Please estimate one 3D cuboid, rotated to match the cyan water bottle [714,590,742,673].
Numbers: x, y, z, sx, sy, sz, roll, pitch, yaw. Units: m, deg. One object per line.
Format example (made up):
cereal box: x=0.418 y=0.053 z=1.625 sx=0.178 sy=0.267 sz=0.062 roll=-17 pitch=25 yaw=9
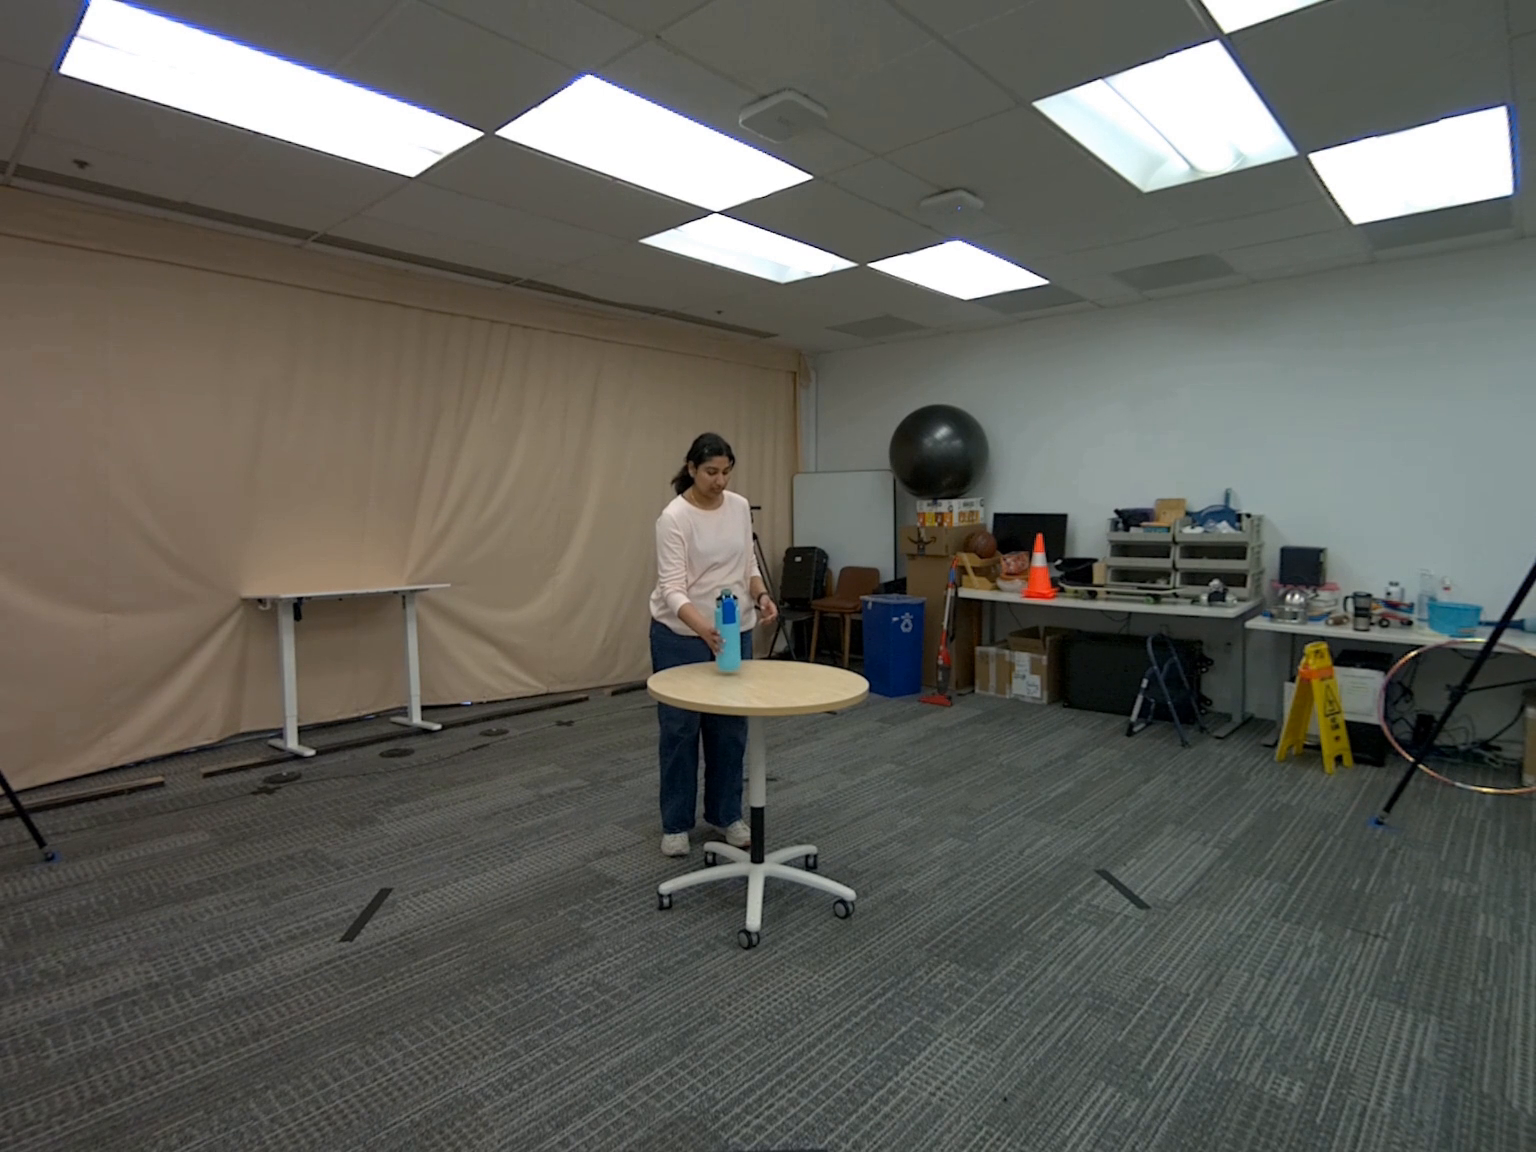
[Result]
cyan water bottle: x=-0.138 y=0.188 z=3.003 sx=0.092 sy=0.281 sz=0.093 roll=3 pitch=14 yaw=-3
